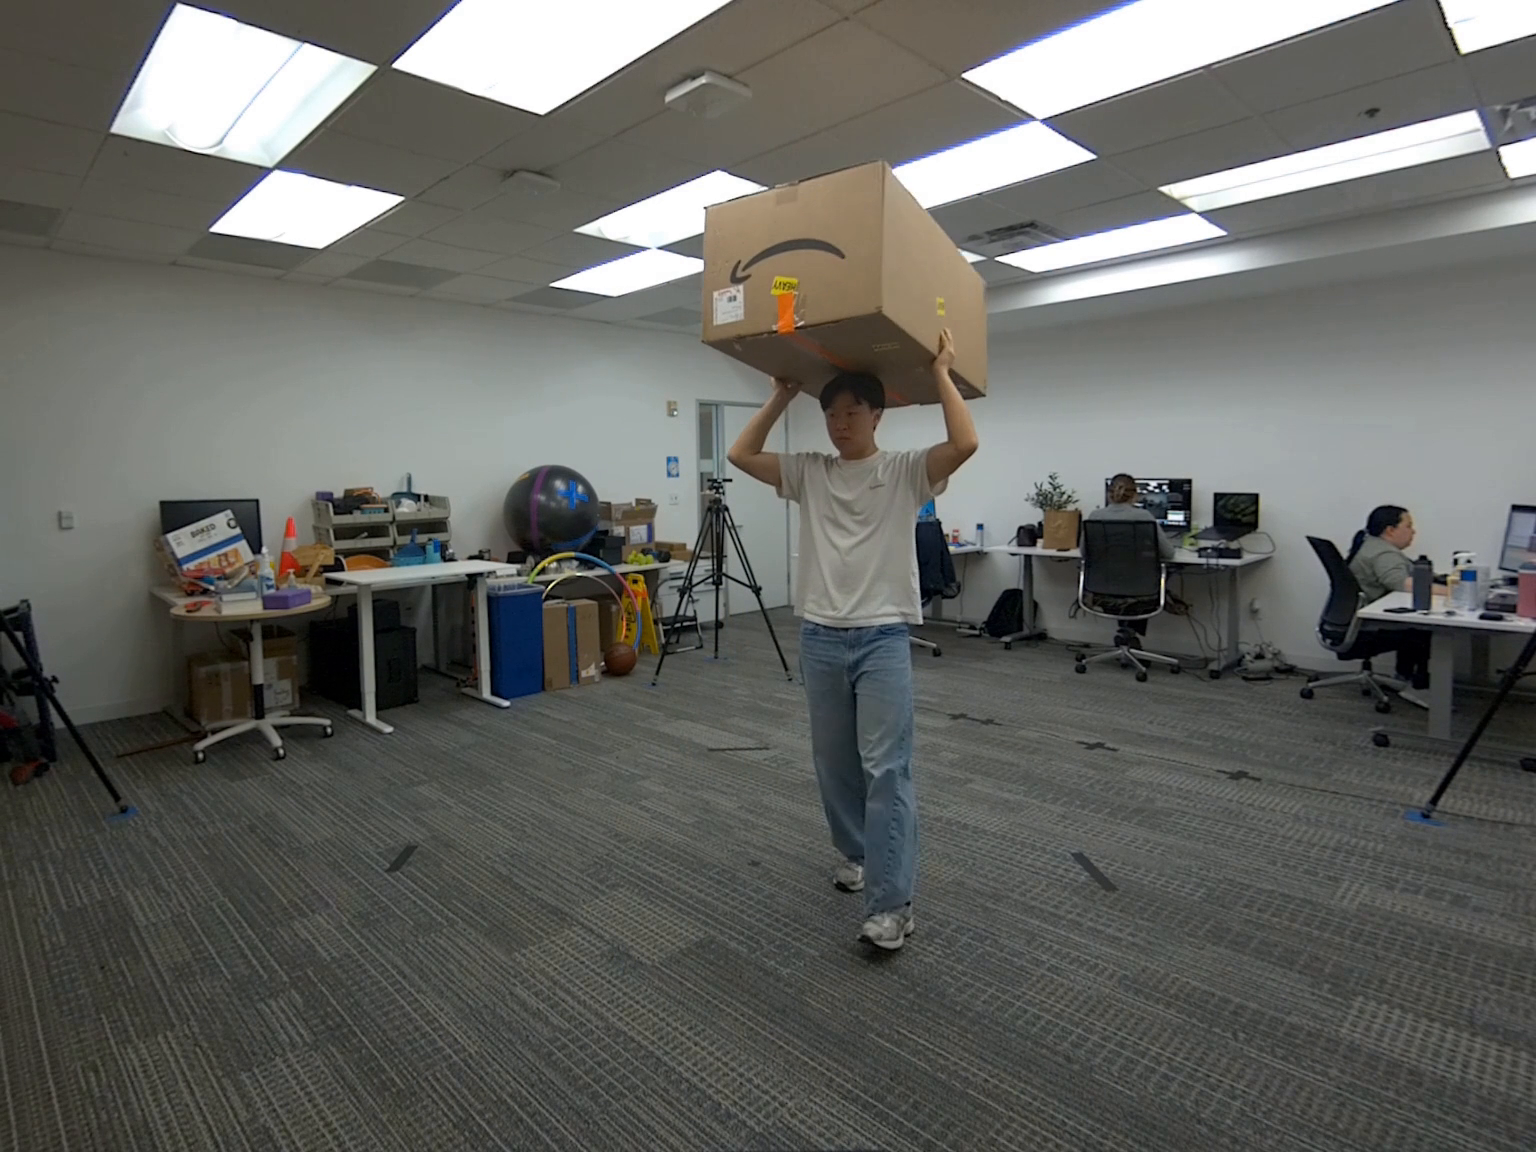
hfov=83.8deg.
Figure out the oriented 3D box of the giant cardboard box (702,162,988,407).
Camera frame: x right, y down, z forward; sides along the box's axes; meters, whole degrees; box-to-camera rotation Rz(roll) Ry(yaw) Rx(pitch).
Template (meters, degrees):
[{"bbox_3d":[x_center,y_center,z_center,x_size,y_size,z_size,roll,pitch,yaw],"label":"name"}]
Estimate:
[{"bbox_3d":[0.300,-0.873,2.825,0.592,0.428,0.996,-1,-3,31],"label":"giant cardboard box"}]
